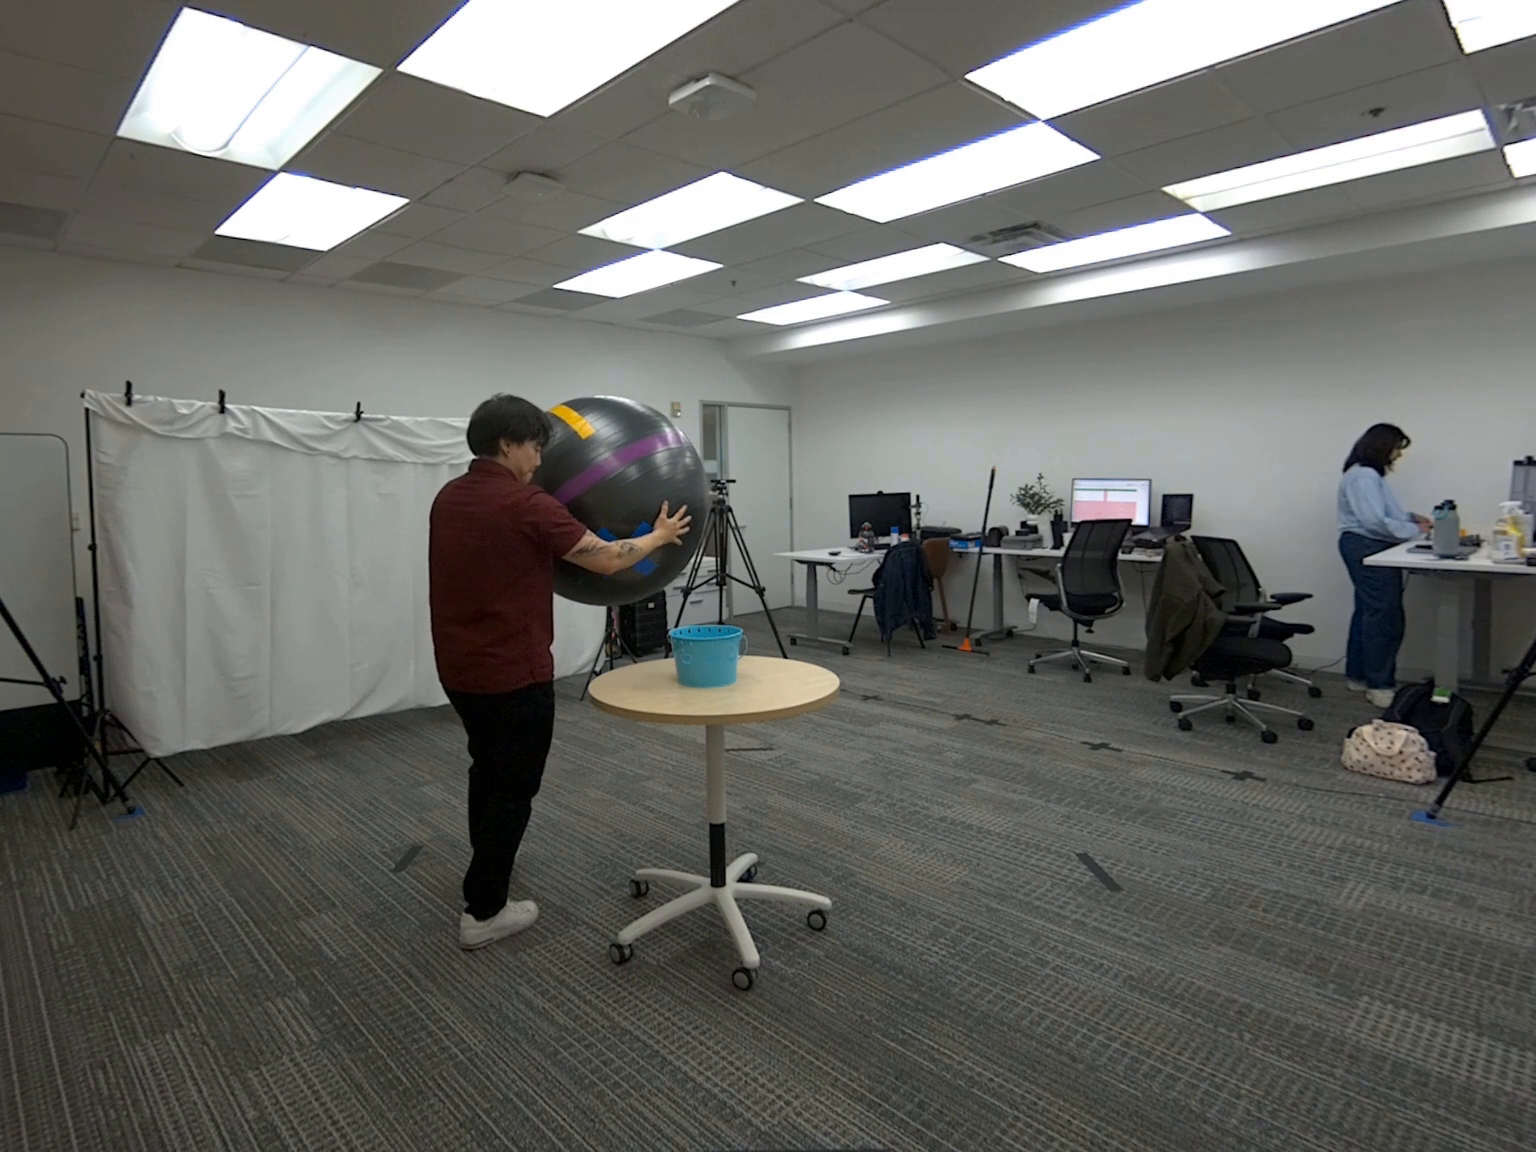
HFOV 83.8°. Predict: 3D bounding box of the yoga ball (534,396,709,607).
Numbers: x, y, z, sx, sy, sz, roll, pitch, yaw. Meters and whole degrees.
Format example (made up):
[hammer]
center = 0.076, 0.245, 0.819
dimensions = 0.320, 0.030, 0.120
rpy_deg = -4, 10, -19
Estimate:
[yoga ball]
center = -0.607, -0.277, 3.111
dimensions = 0.757, 0.755, 0.762
rpy_deg = -1, 5, -2
